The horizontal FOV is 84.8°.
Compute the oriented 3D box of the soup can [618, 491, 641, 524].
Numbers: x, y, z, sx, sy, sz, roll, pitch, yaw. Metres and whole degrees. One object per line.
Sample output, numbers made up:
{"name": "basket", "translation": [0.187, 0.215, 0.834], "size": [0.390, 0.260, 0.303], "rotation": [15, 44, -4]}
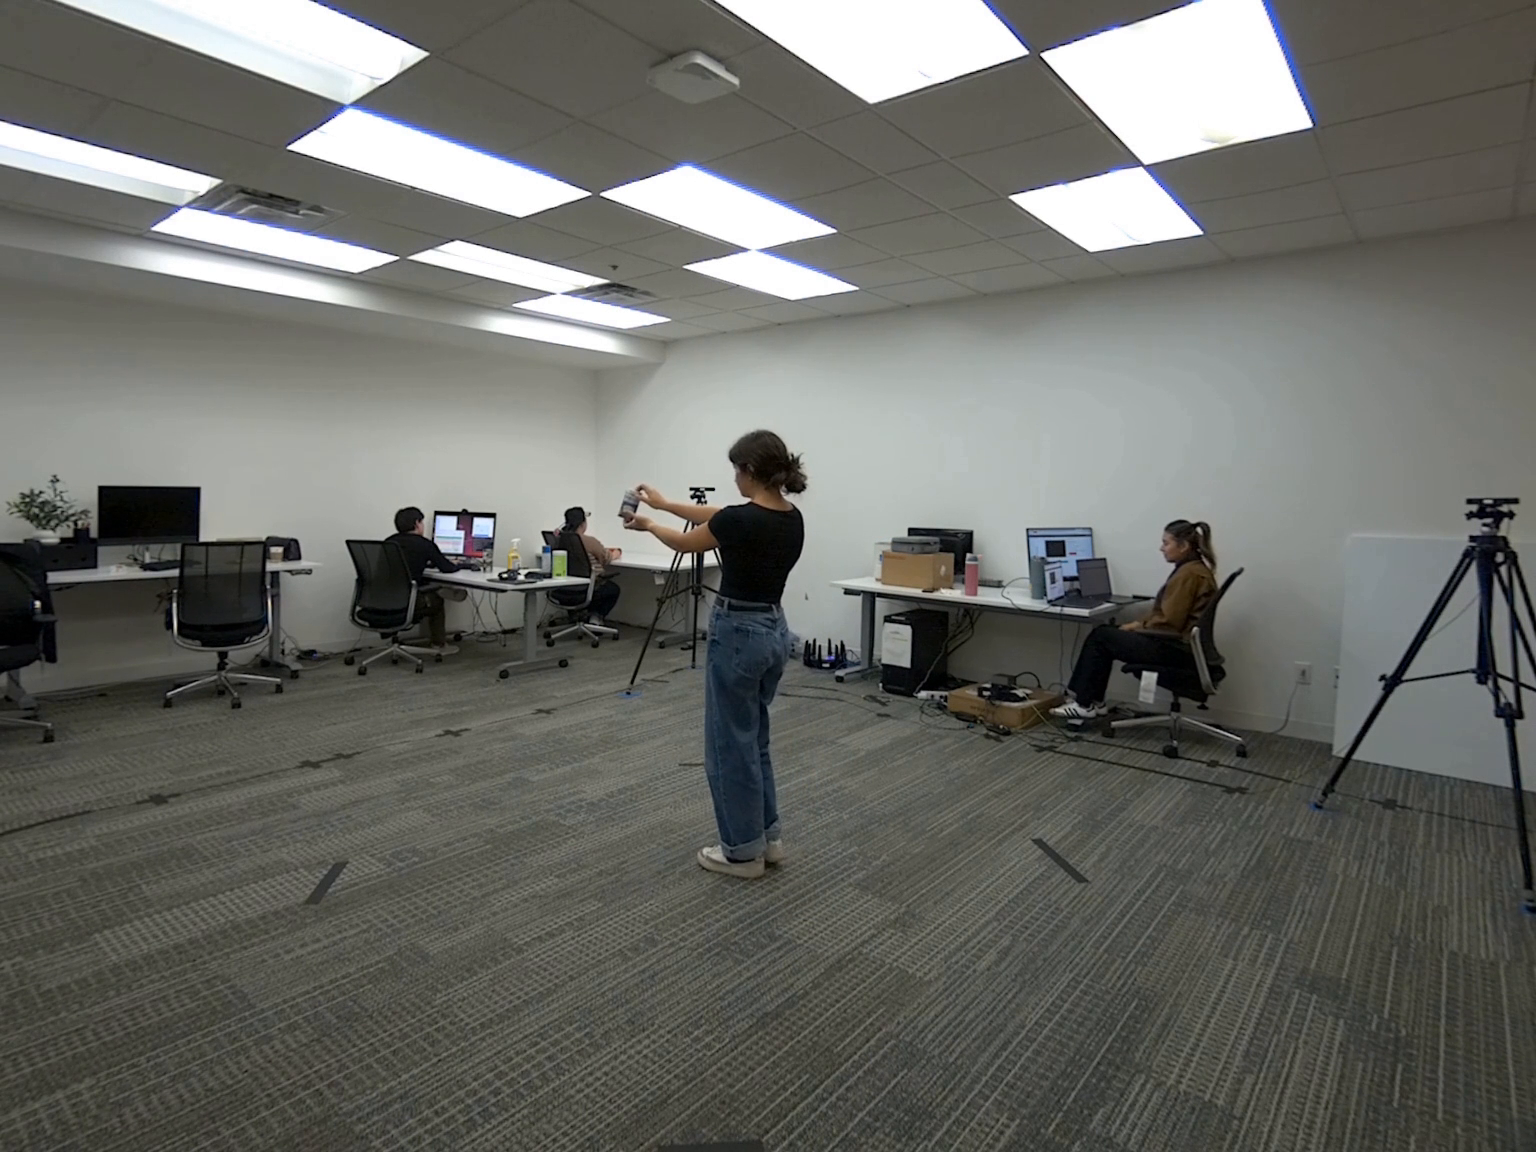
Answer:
{"name": "soup can", "translation": [-0.553, -0.285, 3.345], "size": [0.067, 0.121, 0.067], "rotation": [13, 4, -3]}
